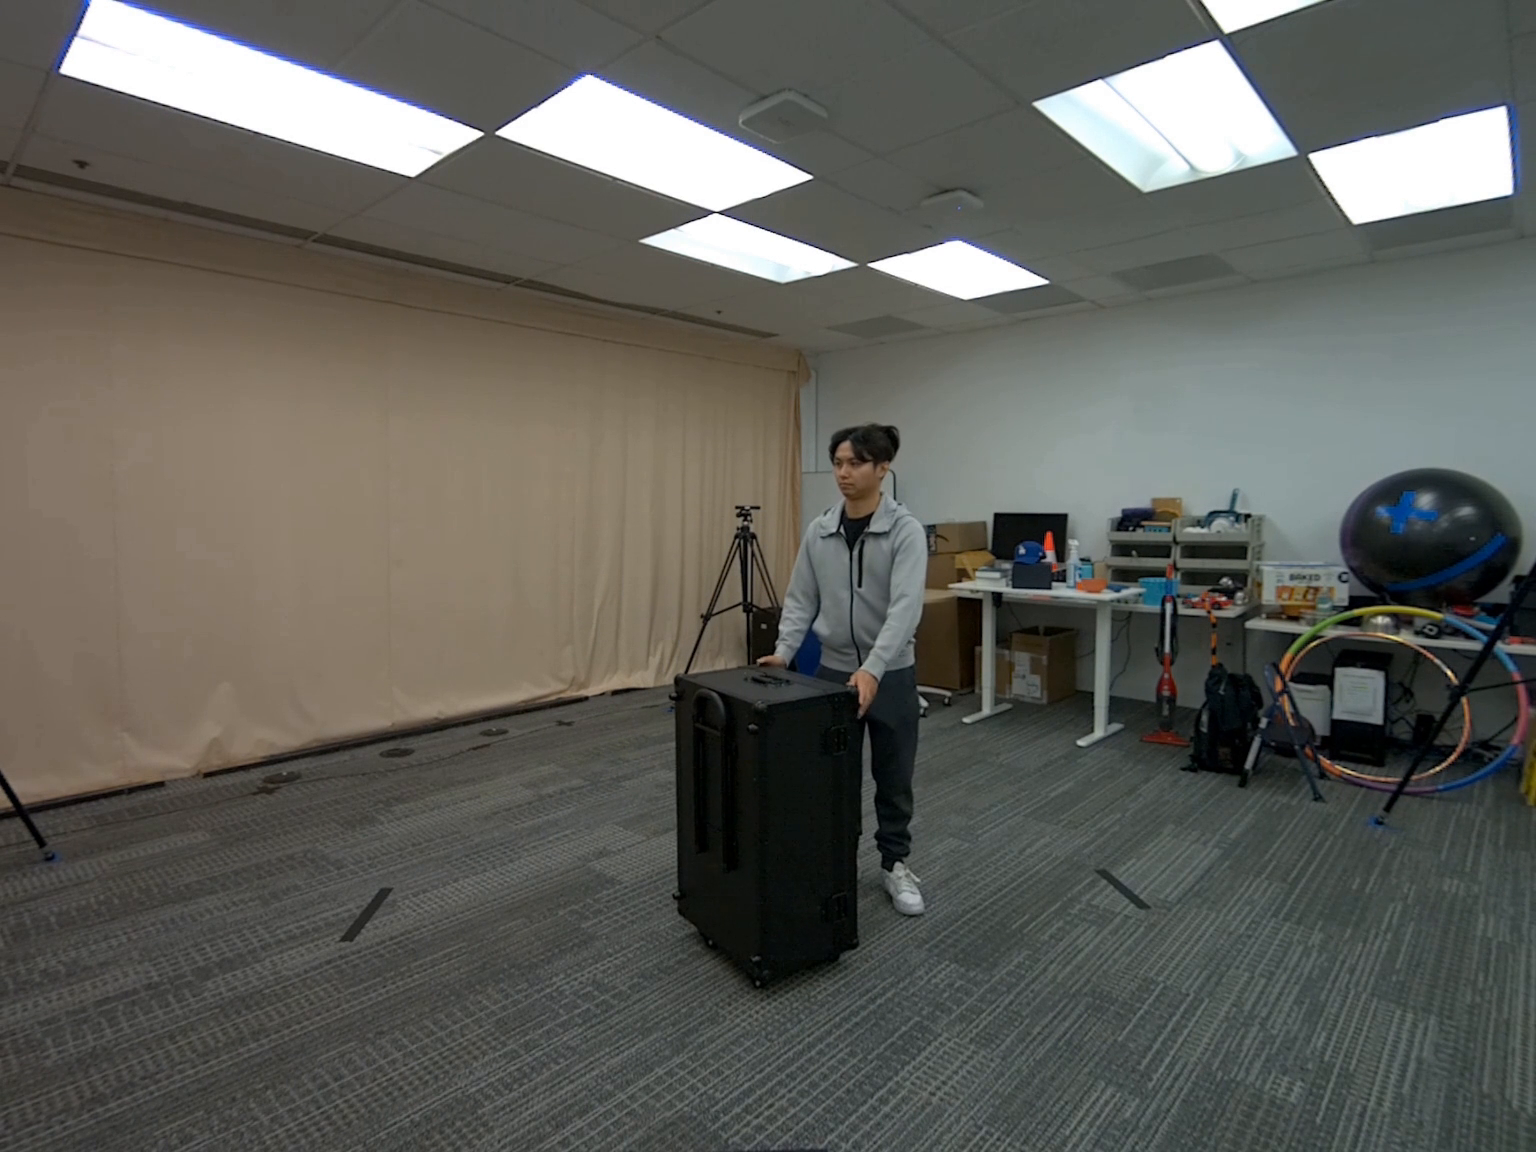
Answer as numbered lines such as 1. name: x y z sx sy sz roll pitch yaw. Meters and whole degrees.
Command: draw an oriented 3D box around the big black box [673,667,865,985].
1. big black box: -0.020 0.755 2.596 0.385 0.859 0.537 -4 5 -33
